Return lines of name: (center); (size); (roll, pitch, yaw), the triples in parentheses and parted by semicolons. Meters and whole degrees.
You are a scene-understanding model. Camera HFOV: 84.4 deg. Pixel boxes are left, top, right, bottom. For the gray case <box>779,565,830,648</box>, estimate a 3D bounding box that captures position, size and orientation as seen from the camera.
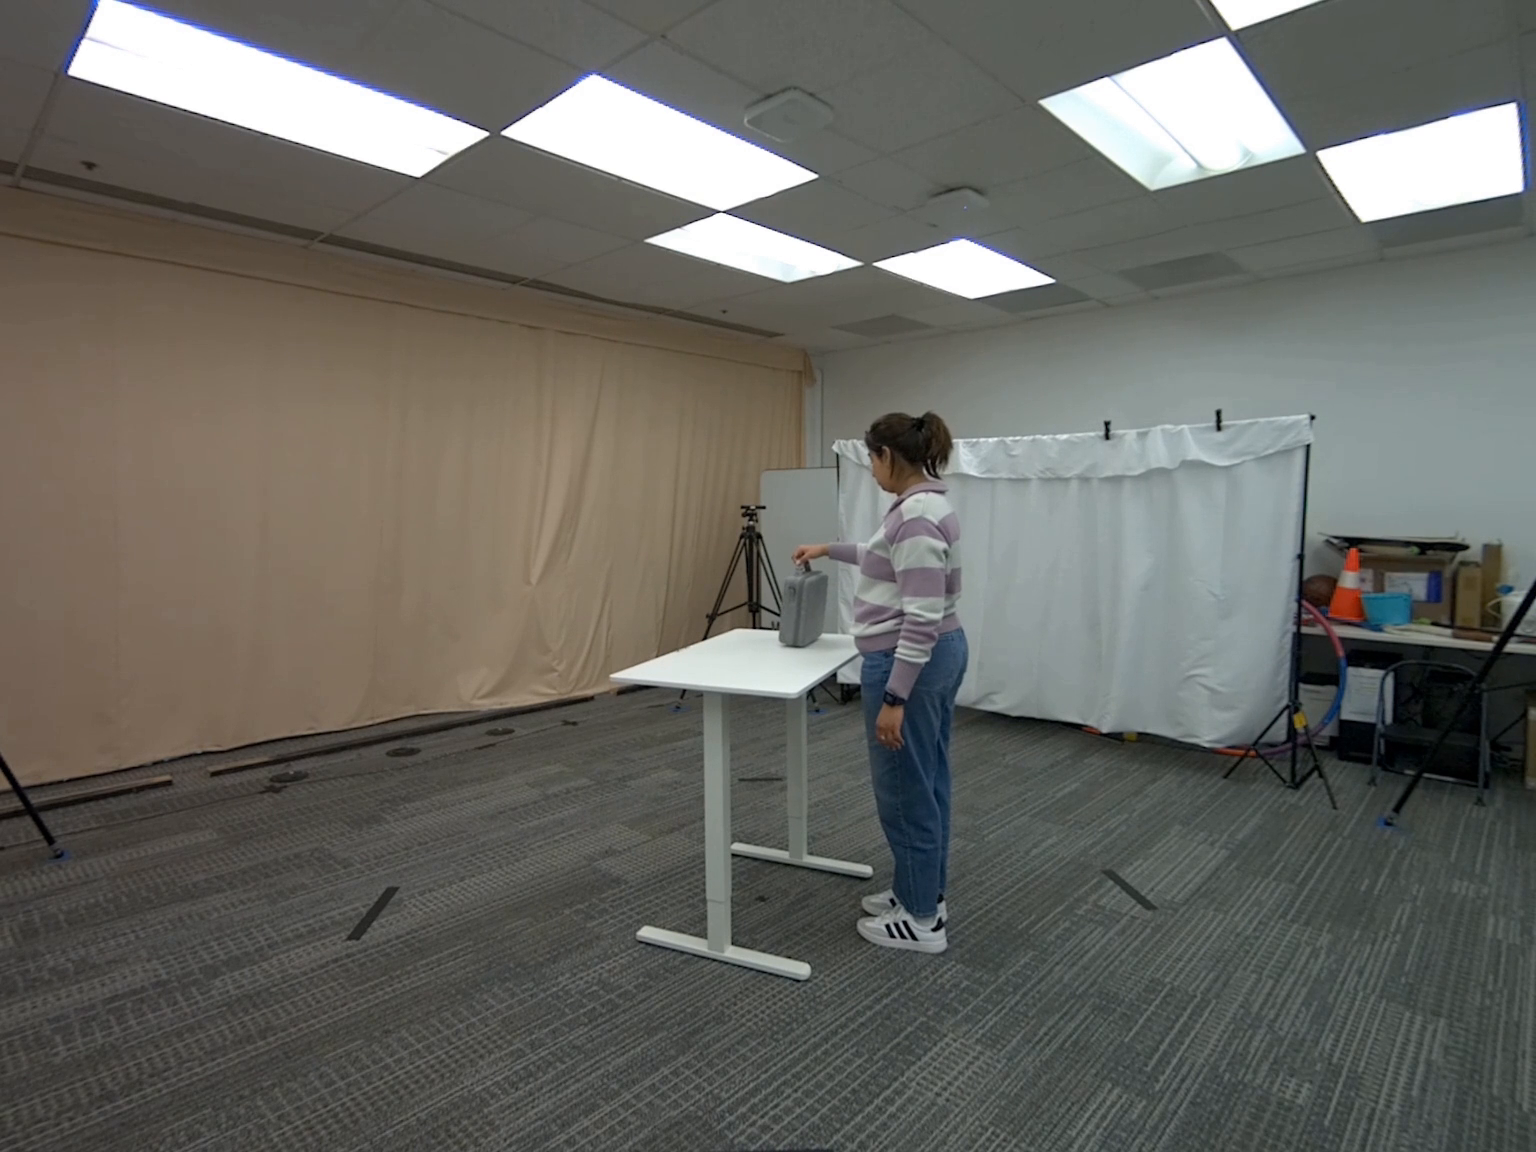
gray case: (0.133, 0.114, 3.086); (0.107, 0.260, 0.252); (7, 7, 19)
